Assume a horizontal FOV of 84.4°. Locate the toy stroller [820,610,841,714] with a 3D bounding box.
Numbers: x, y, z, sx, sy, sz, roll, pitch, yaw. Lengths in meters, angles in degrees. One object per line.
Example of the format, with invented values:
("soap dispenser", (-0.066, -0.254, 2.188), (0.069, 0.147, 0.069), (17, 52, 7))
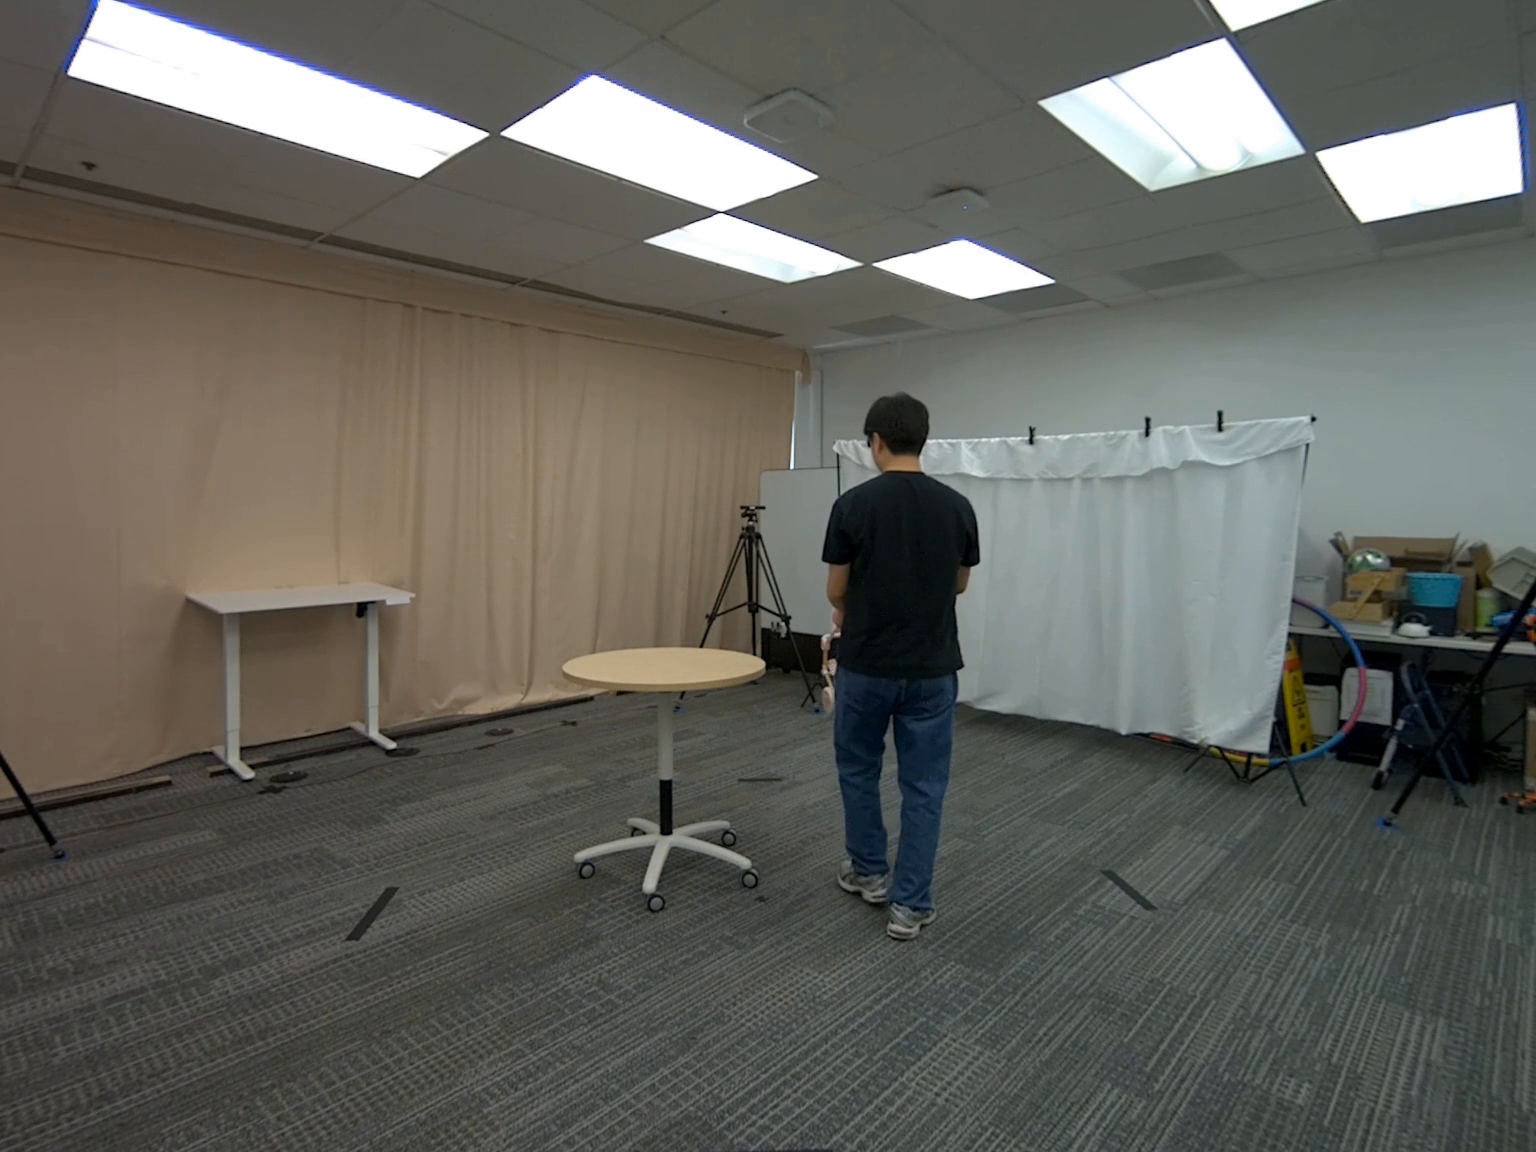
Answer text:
("toy stroller", (0.355, 0.297, 3.347), (0.279, 0.528, 0.348), (-1, 22, -8))
